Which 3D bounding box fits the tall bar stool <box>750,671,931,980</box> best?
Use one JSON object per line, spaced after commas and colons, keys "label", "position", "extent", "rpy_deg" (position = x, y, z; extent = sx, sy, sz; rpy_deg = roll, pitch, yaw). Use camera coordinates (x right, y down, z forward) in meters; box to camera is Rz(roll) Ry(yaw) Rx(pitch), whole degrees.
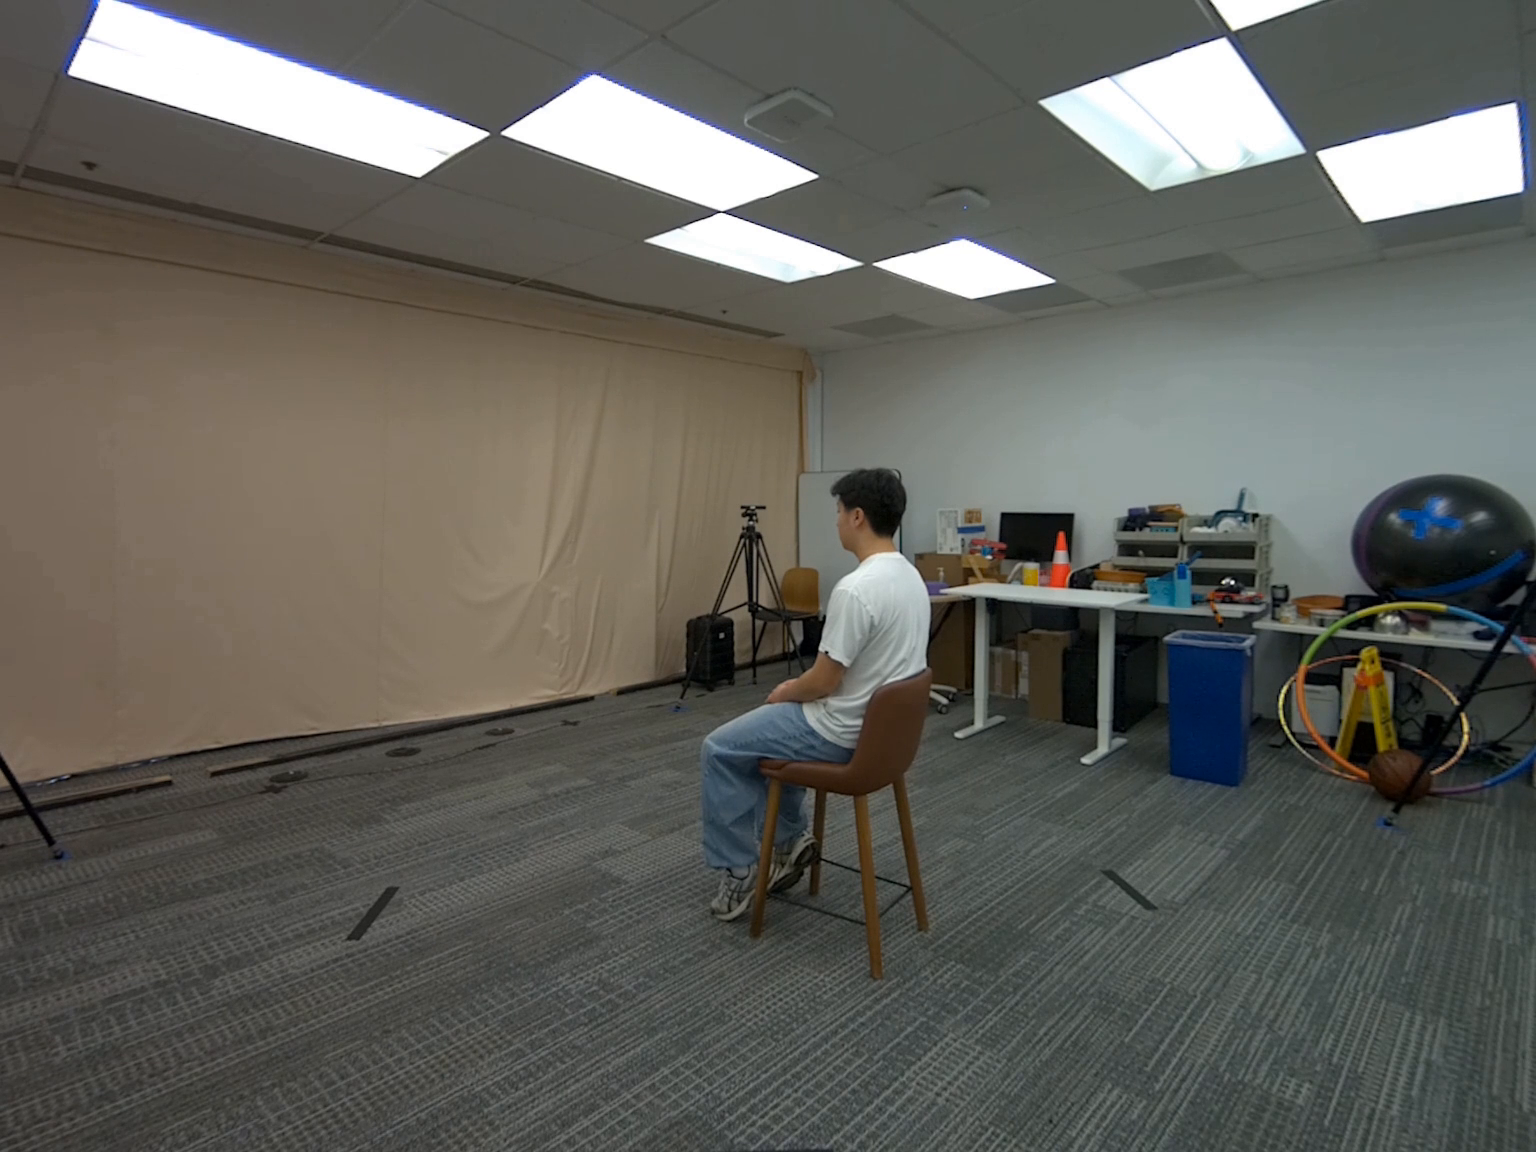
{"label": "tall bar stool", "position": [0.254, 0.732, 2.713], "extent": [0.482, 0.887, 0.444], "rpy_deg": [5, 7, 34]}
